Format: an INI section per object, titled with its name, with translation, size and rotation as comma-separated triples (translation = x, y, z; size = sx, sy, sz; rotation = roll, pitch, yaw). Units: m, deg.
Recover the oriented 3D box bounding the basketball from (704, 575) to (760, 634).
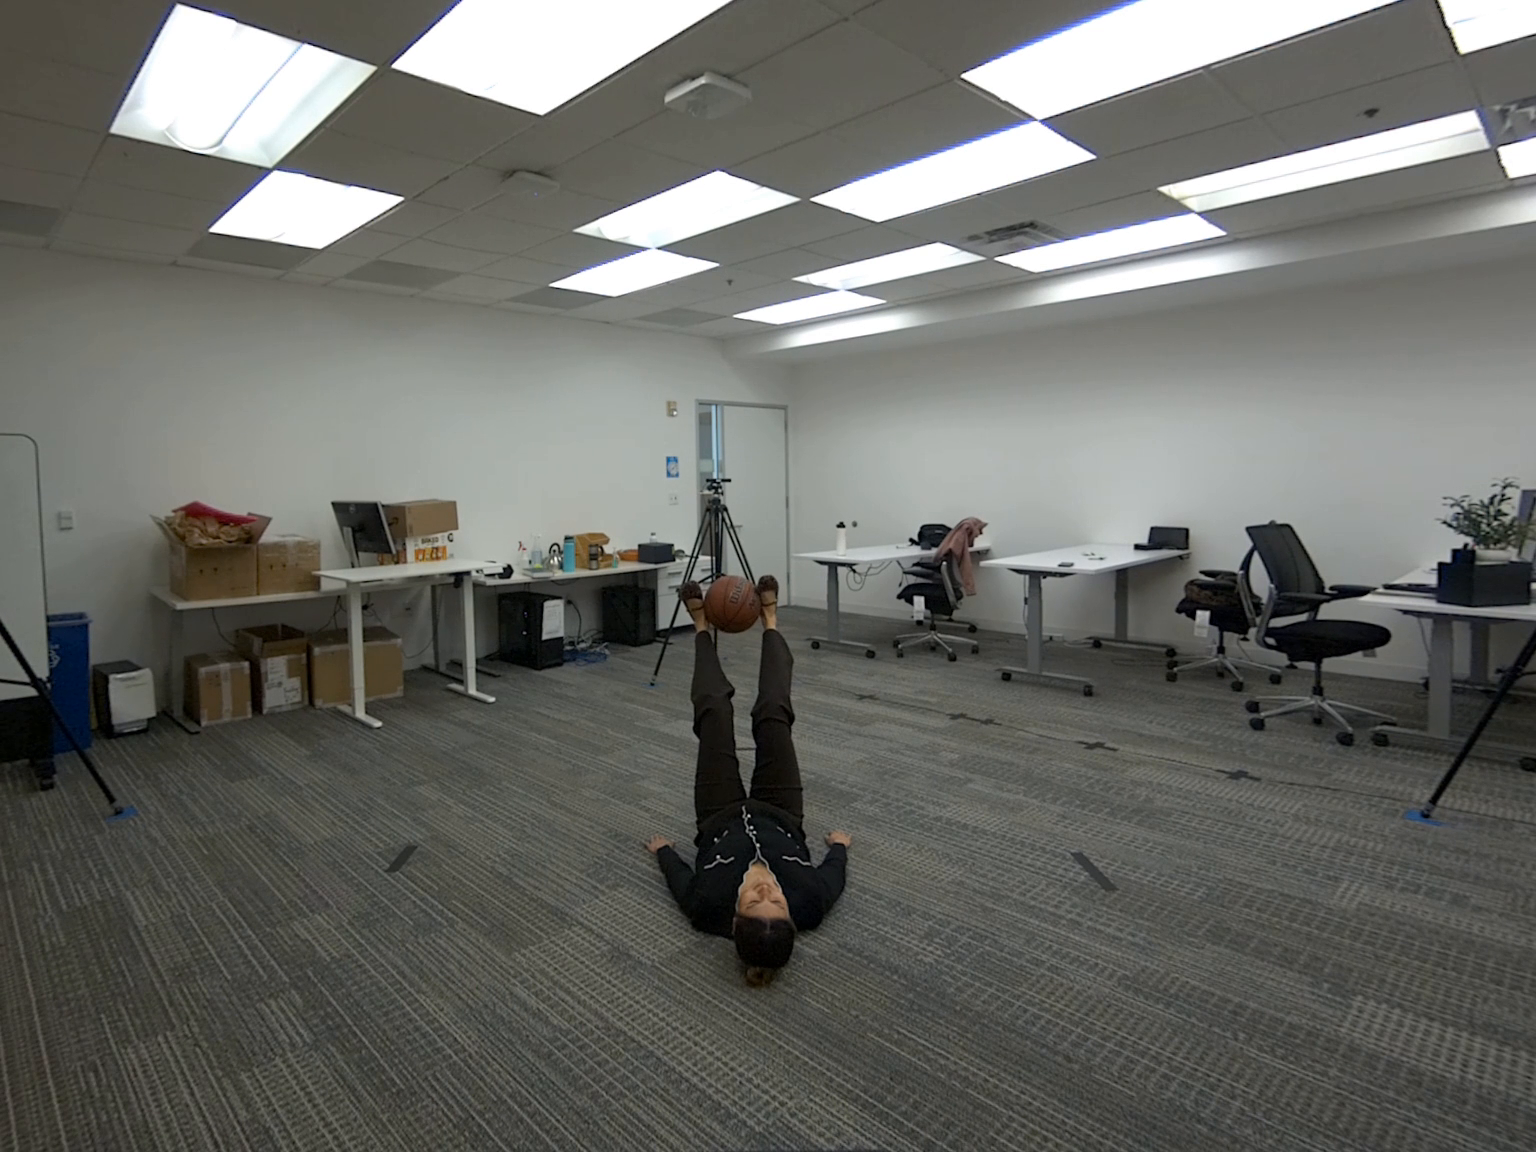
[basketball]
translation = -0.141, 0.113, 3.479
size = 0.236, 0.235, 0.237
rotation = -4, 4, -1
